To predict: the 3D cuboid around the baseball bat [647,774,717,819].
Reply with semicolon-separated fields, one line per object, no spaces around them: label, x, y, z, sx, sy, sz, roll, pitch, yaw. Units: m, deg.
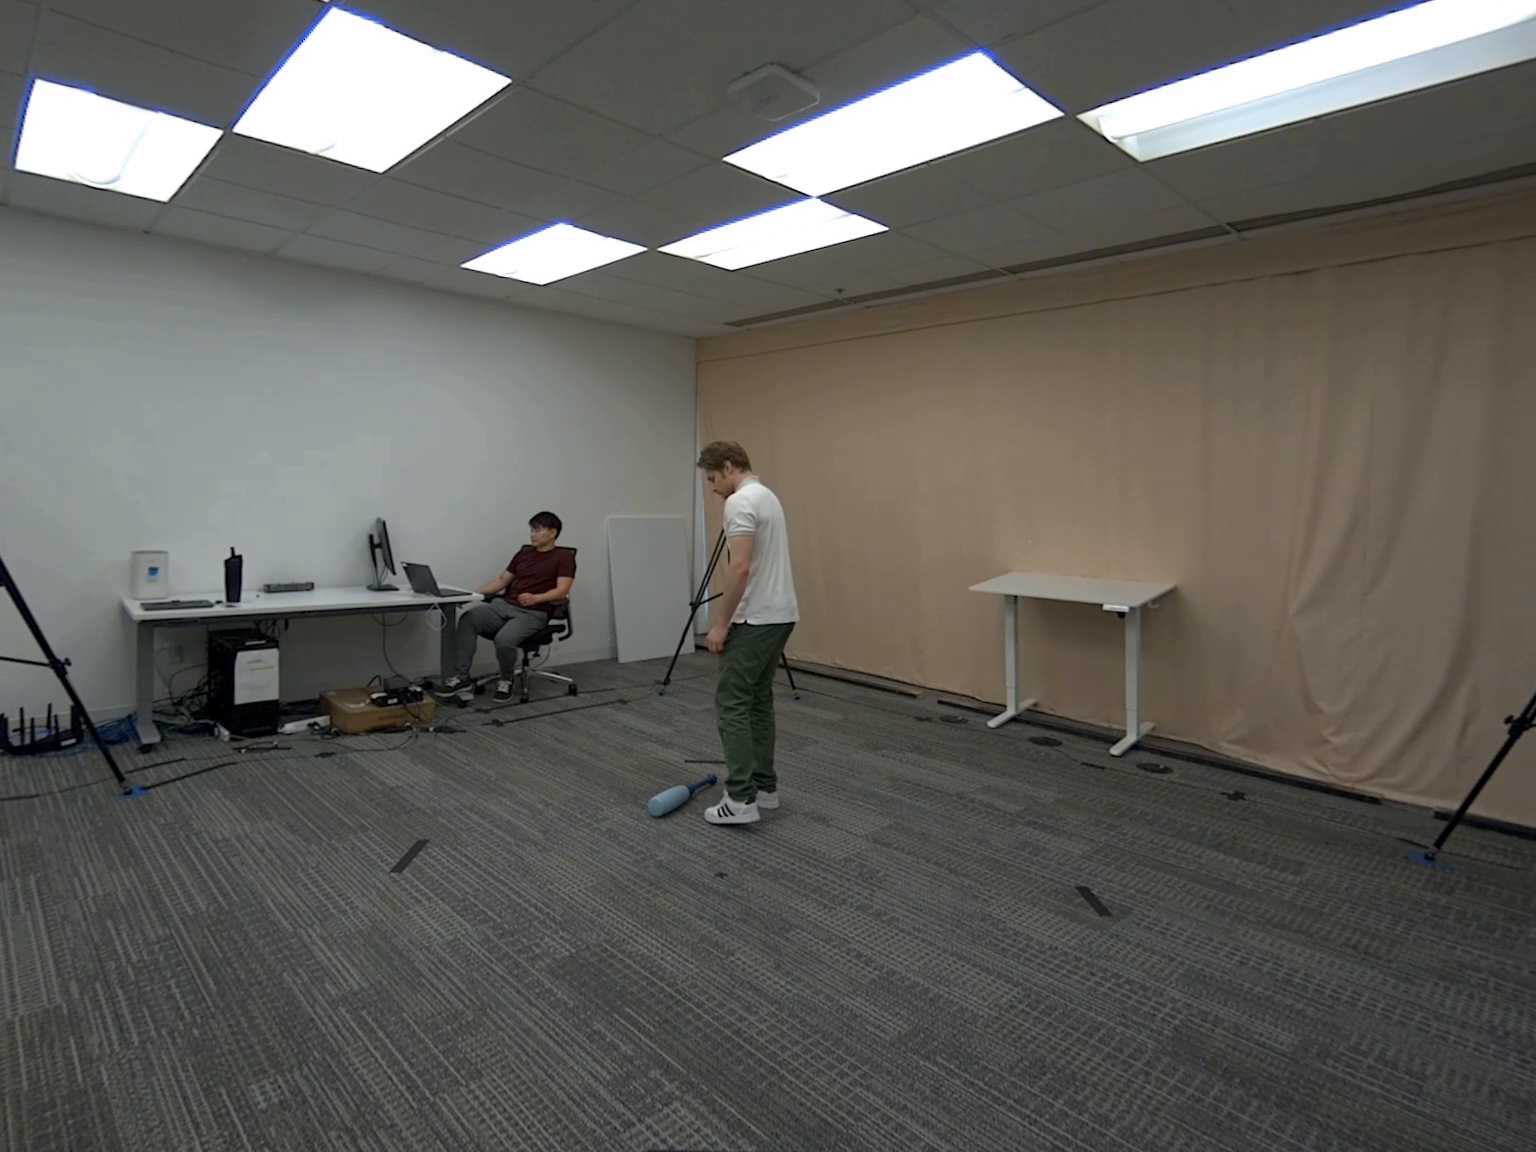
baseball bat;-0.390;0.996;3.875;0.091;0.089;0.533;3;2;23
